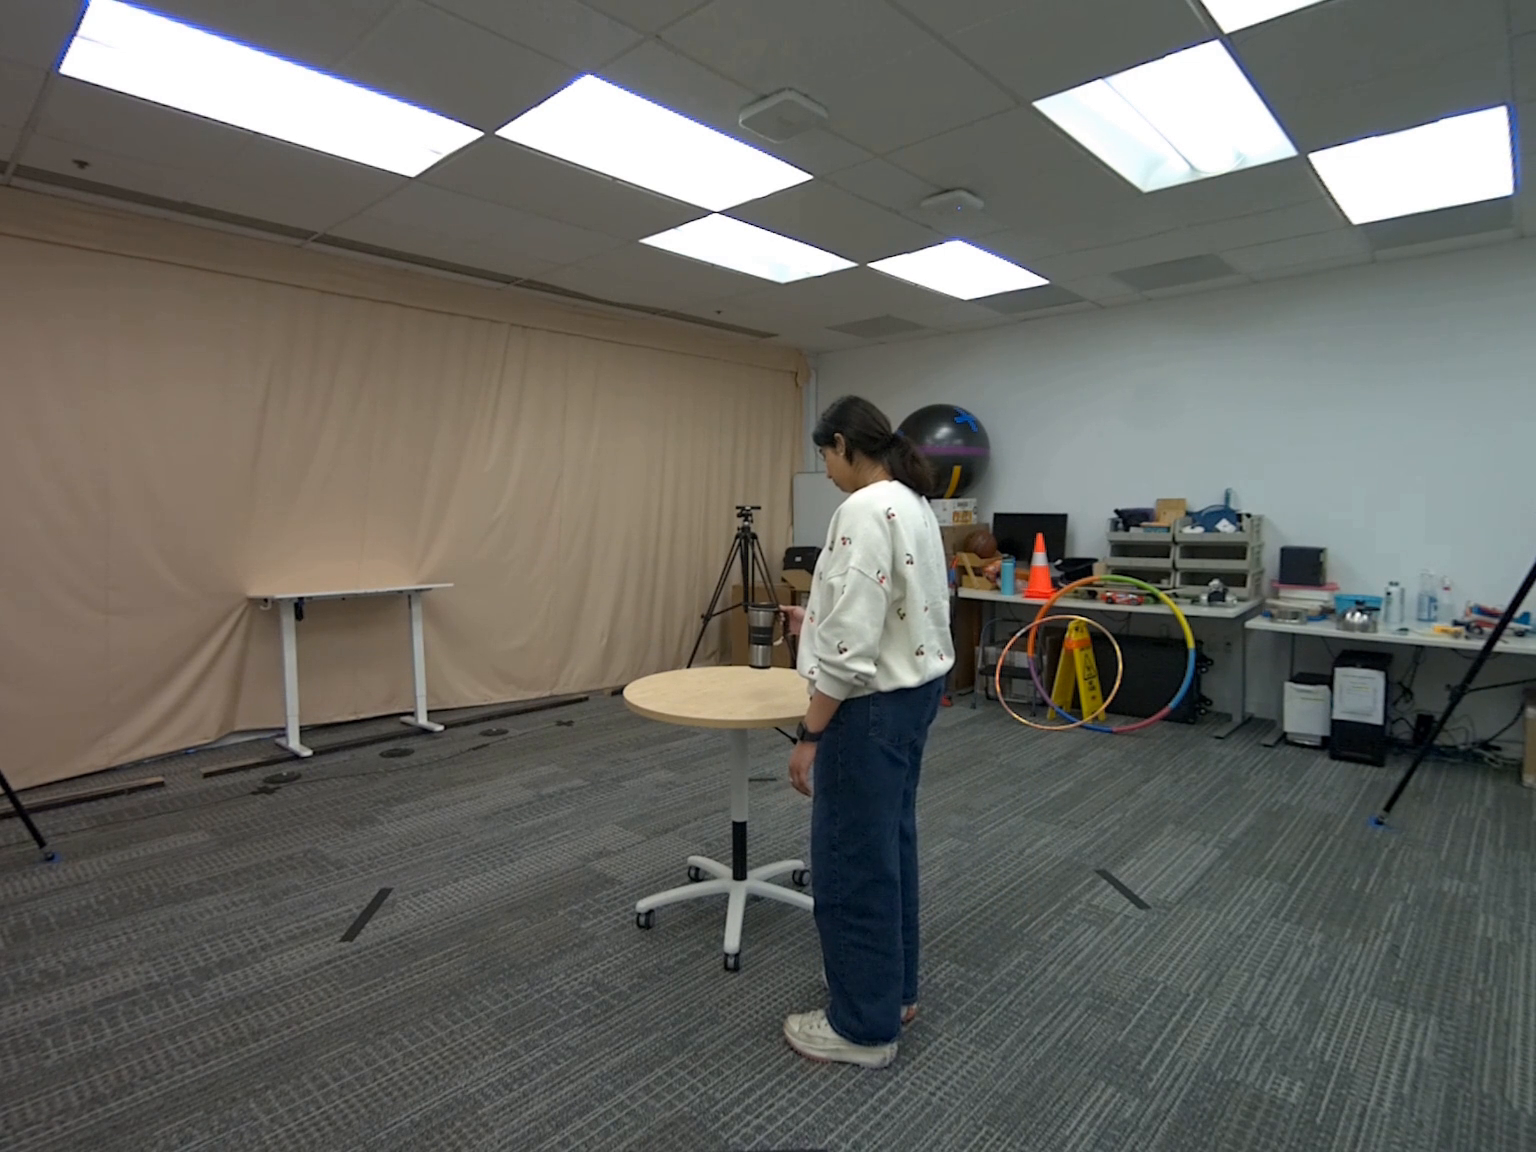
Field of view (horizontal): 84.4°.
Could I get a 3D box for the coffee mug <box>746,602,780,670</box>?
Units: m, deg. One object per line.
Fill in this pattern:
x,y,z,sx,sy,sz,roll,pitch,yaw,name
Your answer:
0.005,0.190,2.583,0.085,0.203,0.126,2,-2,-44,coffee mug
